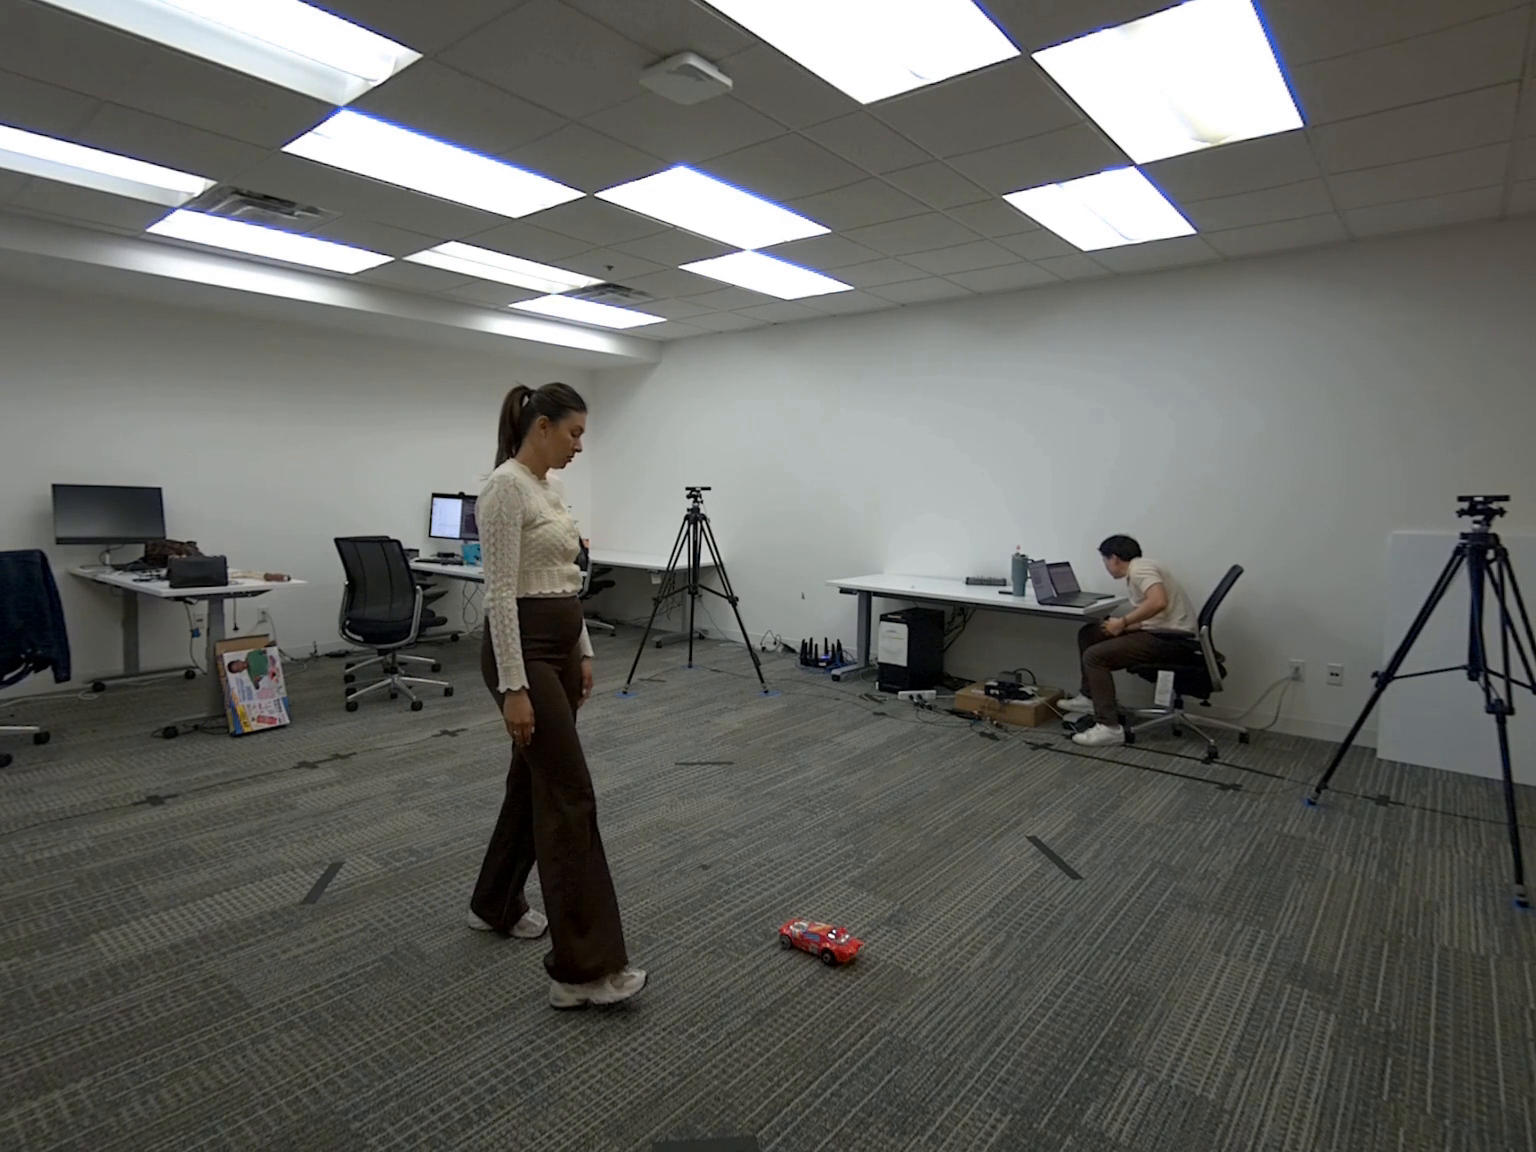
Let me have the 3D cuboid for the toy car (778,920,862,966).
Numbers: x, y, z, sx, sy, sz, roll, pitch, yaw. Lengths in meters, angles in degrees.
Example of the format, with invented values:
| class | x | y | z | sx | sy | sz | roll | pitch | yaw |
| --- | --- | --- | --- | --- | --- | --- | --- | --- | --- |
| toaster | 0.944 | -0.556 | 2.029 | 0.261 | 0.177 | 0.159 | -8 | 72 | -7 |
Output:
| class | x | y | z | sx | sy | sz | roll | pitch | yaw |
| --- | --- | --- | --- | --- | --- | --- | --- | --- | --- |
| toy car | 0.156 | 1.099 | 2.551 | 0.261 | 0.083 | 0.127 | -8 | -1 | 35 |
